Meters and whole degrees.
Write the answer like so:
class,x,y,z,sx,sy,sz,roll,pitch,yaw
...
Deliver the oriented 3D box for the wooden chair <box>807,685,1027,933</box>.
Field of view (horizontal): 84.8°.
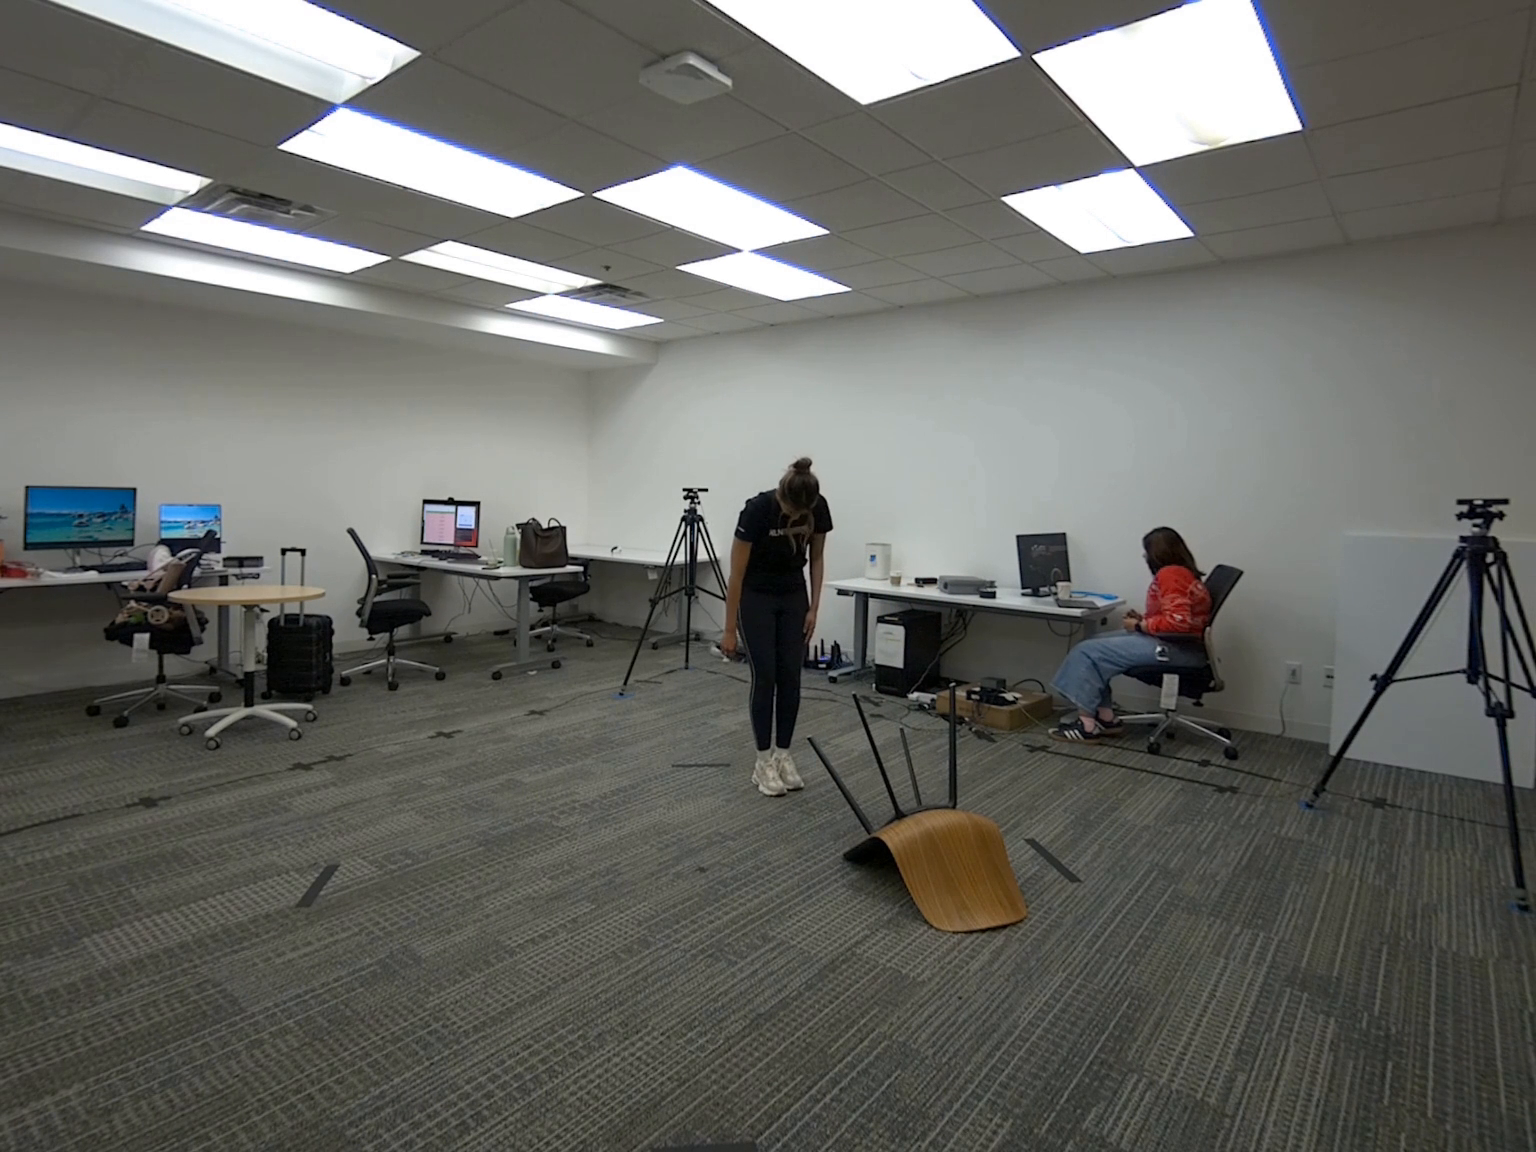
class,x,y,z,sx,sy,sz,roll,pitch,yaw
wooden chair,0.530,0.909,3.162,0.468,0.907,0.517,-1,-36,-23
